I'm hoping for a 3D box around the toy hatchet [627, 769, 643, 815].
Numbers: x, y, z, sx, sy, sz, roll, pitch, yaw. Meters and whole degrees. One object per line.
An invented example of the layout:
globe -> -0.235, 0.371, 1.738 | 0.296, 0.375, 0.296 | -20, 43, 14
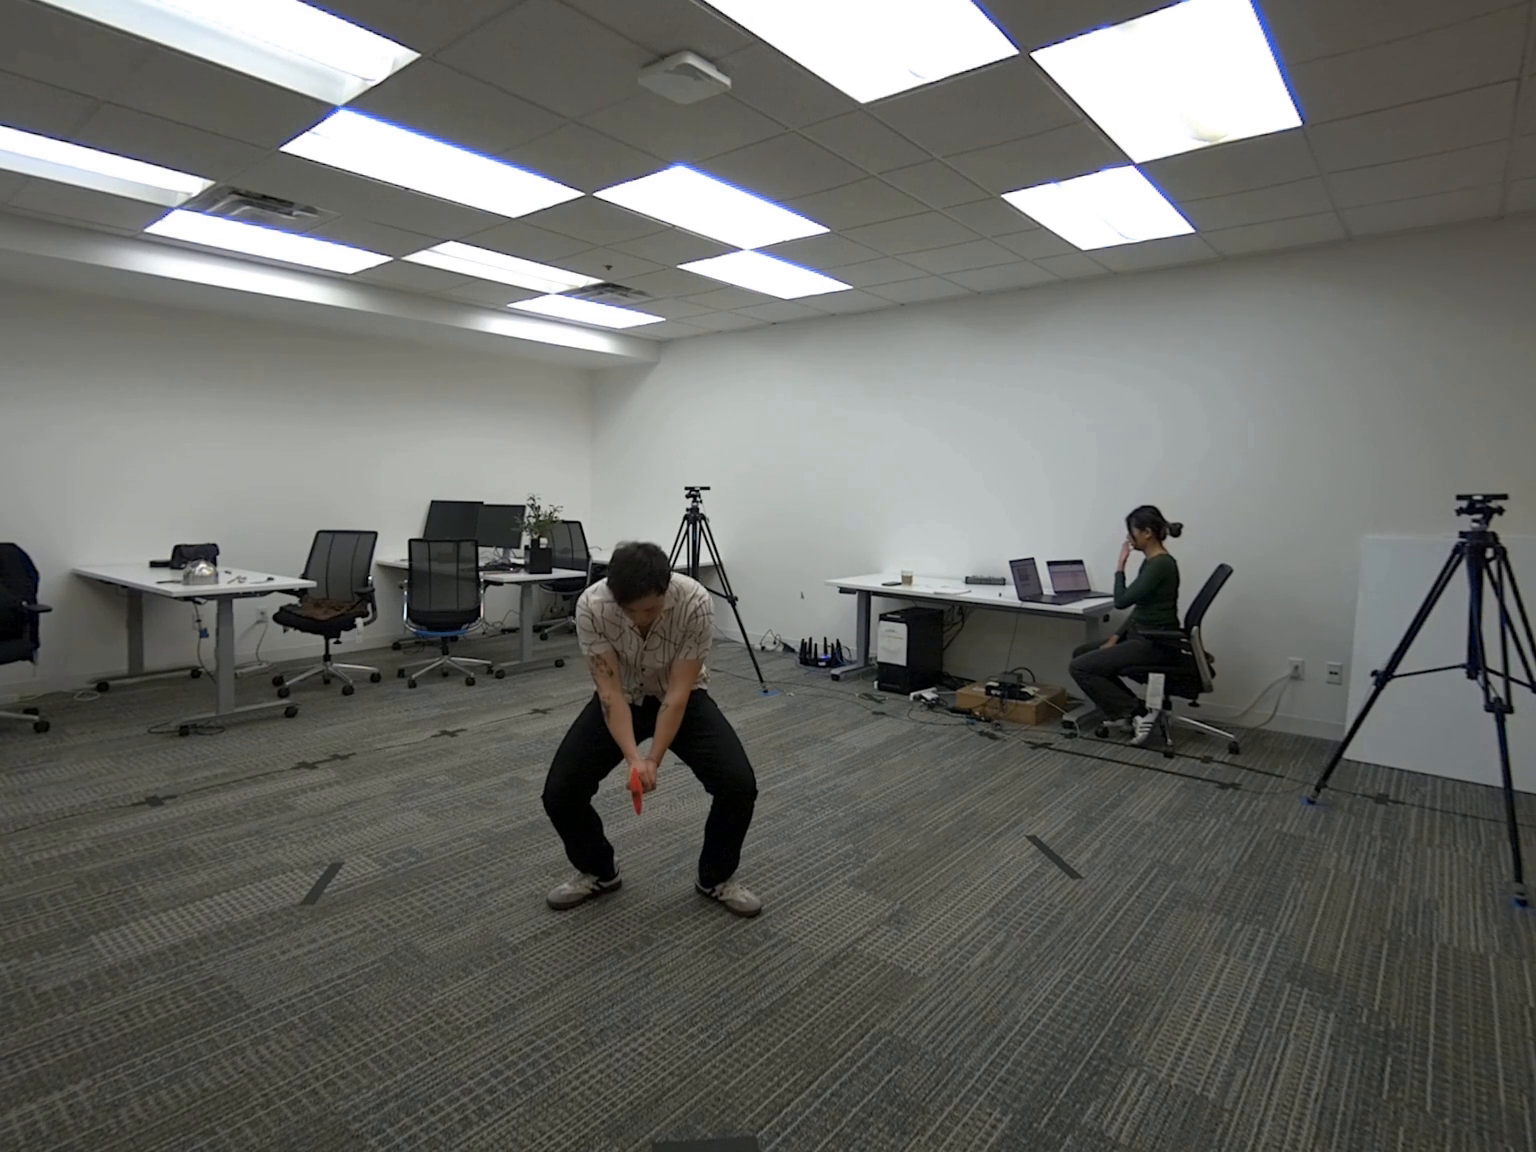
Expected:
toy hatchet -> -0.379, 0.629, 2.492 | 0.029, 0.134, 0.264 | -6, -20, 0
